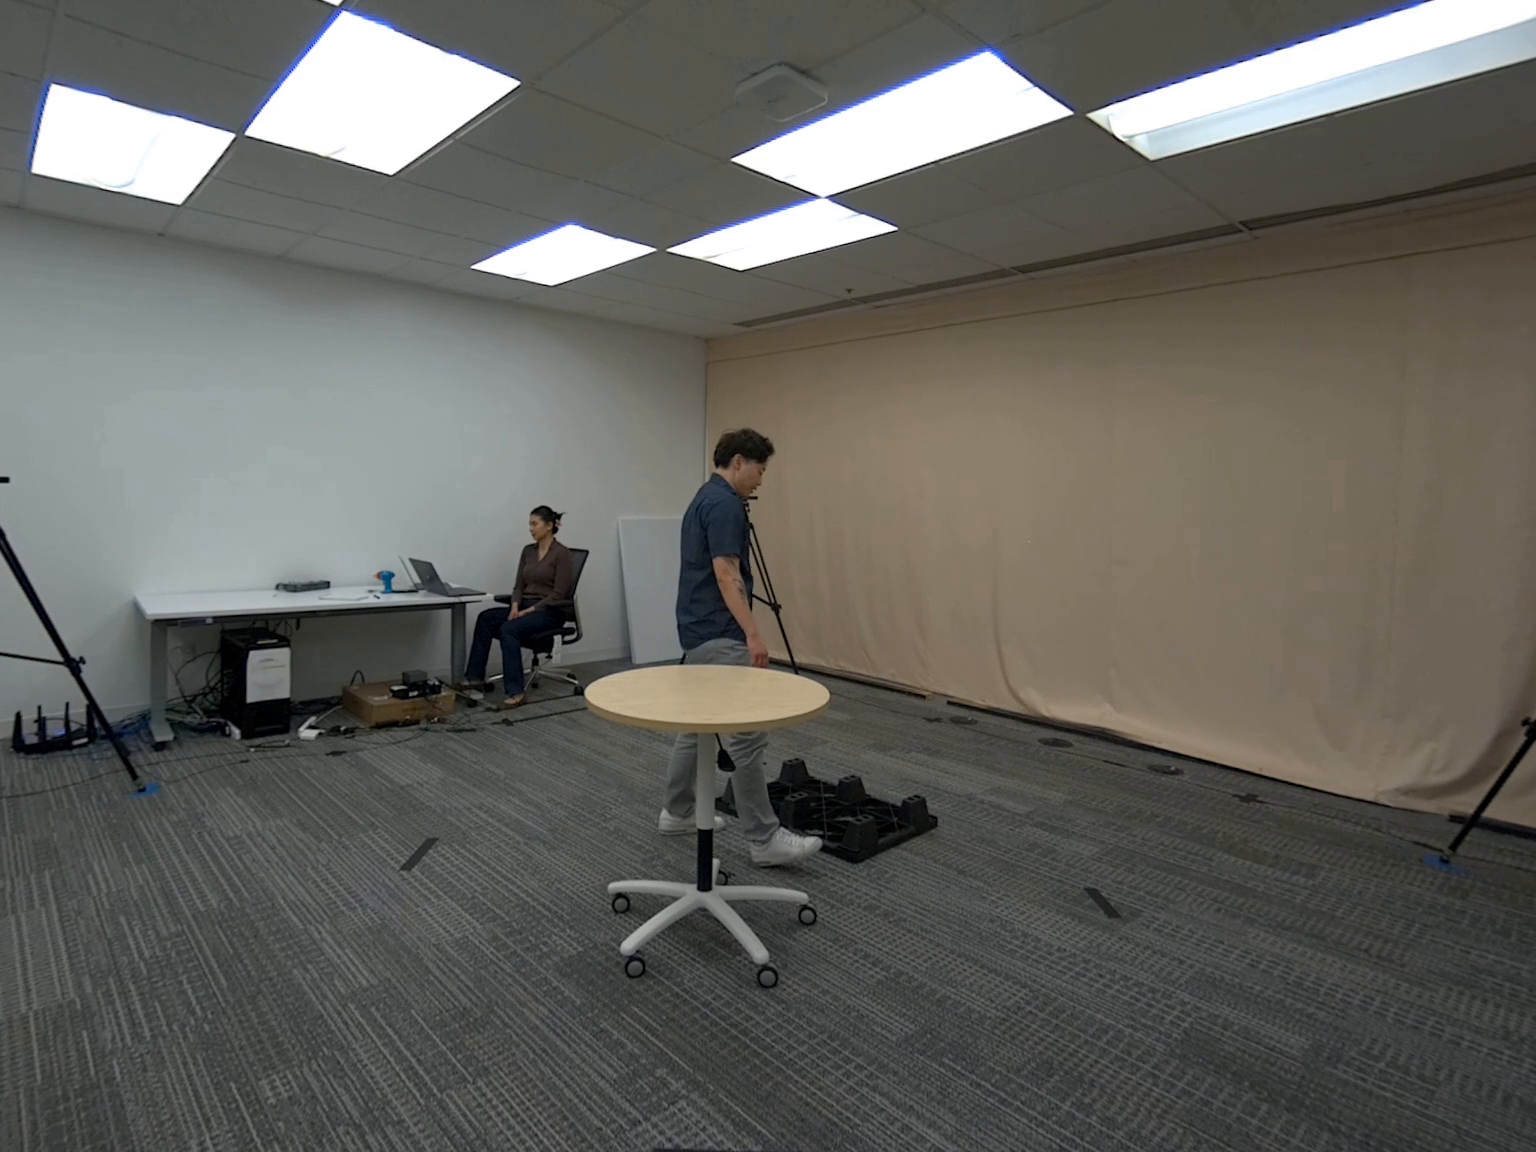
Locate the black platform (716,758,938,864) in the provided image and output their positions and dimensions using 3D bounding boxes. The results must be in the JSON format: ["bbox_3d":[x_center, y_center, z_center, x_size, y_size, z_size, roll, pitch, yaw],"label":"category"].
[{"bbox_3d":[0.243,0.994,3.701,0.826,0.143,0.591,7,7,44],"label":"black platform"}]
